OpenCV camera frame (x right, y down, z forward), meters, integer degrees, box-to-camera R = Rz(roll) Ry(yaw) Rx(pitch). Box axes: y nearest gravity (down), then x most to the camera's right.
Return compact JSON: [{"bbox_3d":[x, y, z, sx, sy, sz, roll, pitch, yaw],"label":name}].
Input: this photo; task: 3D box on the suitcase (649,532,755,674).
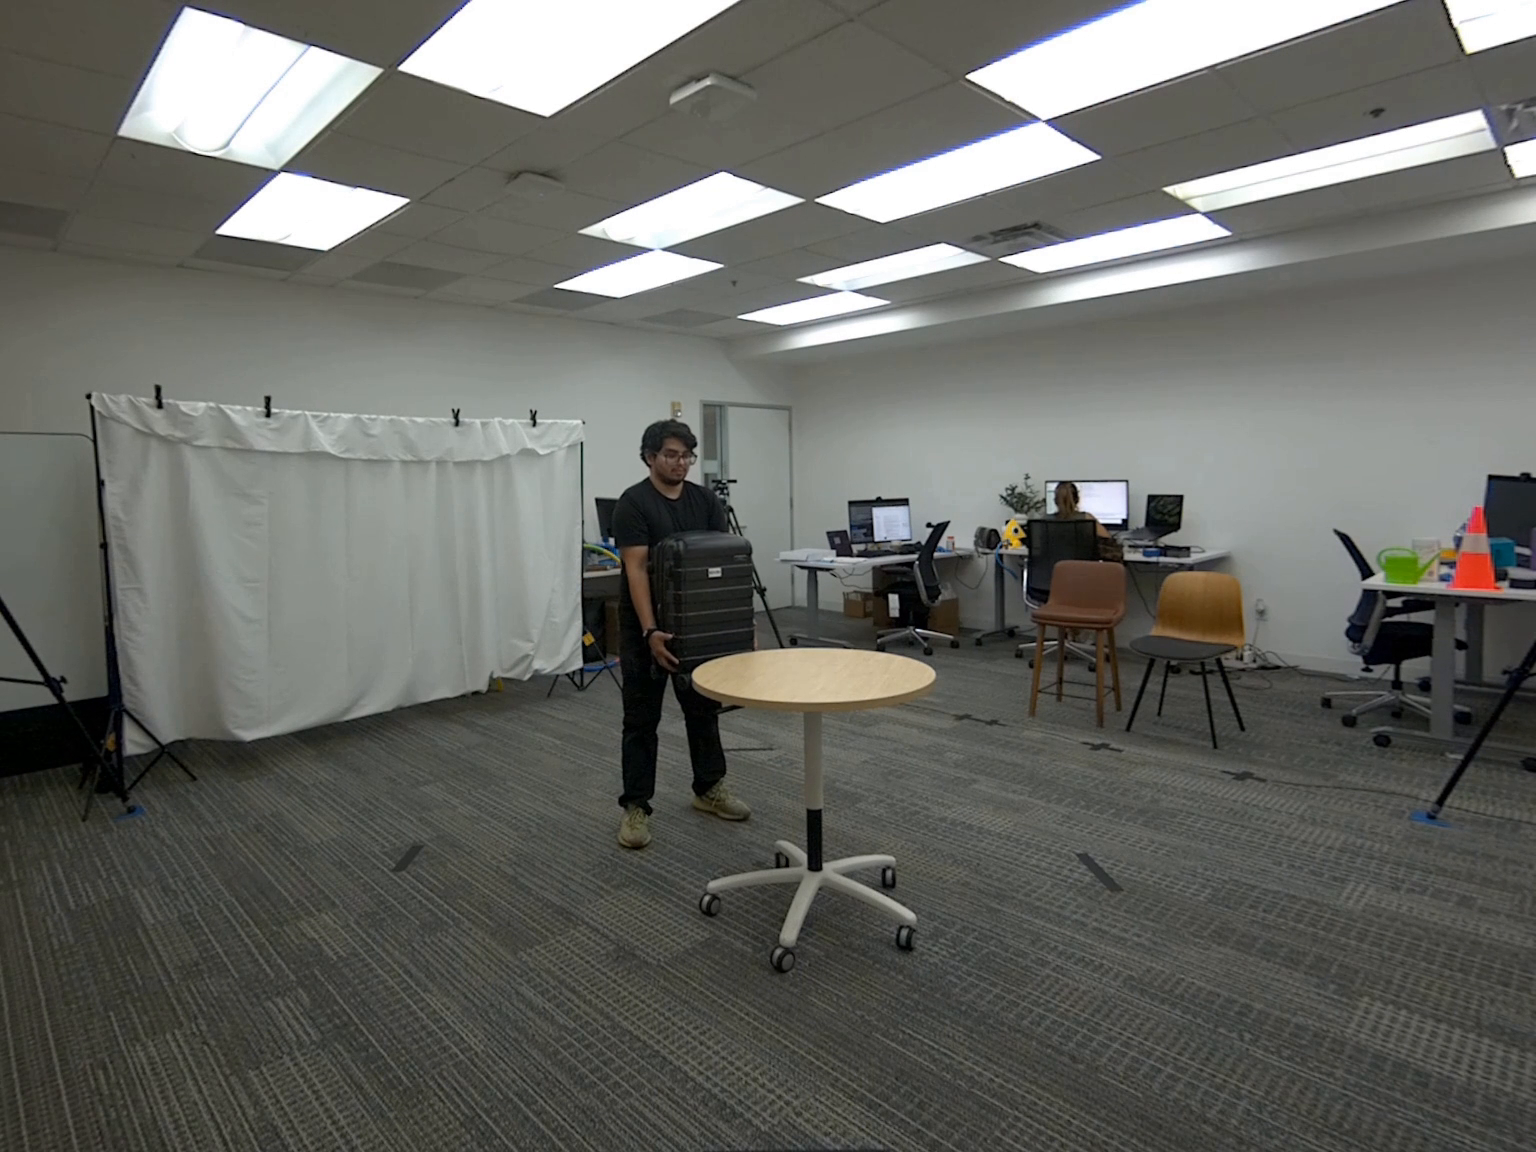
[{"bbox_3d":[-0.252,0.113,3.220,0.366,0.548,0.255,-4,4,-32],"label":"suitcase"}]
